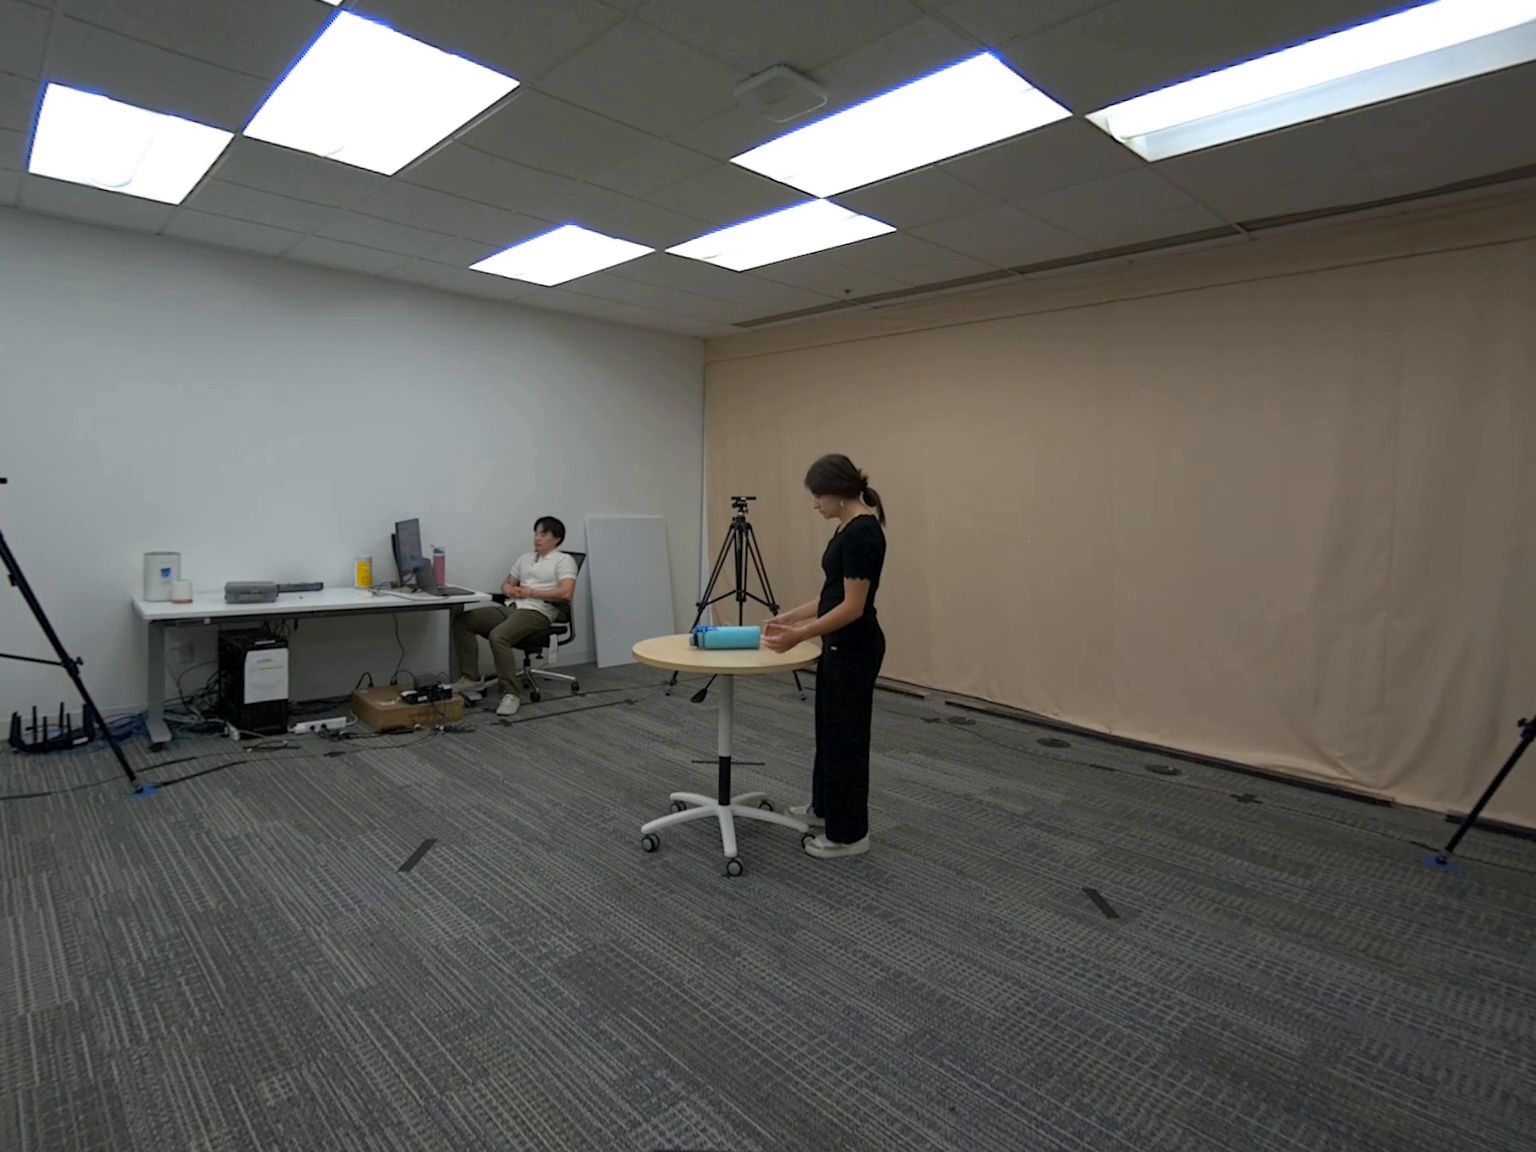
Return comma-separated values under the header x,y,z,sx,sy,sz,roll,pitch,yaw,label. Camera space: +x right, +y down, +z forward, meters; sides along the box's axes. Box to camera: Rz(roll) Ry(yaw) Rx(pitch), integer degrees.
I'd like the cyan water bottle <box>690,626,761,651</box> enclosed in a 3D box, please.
x,y,z,sx,sy,sz,roll,pitch,yaw,label
-0.179,0.247,3.400,0.282,0.092,0.093,0,4,-7,cyan water bottle
